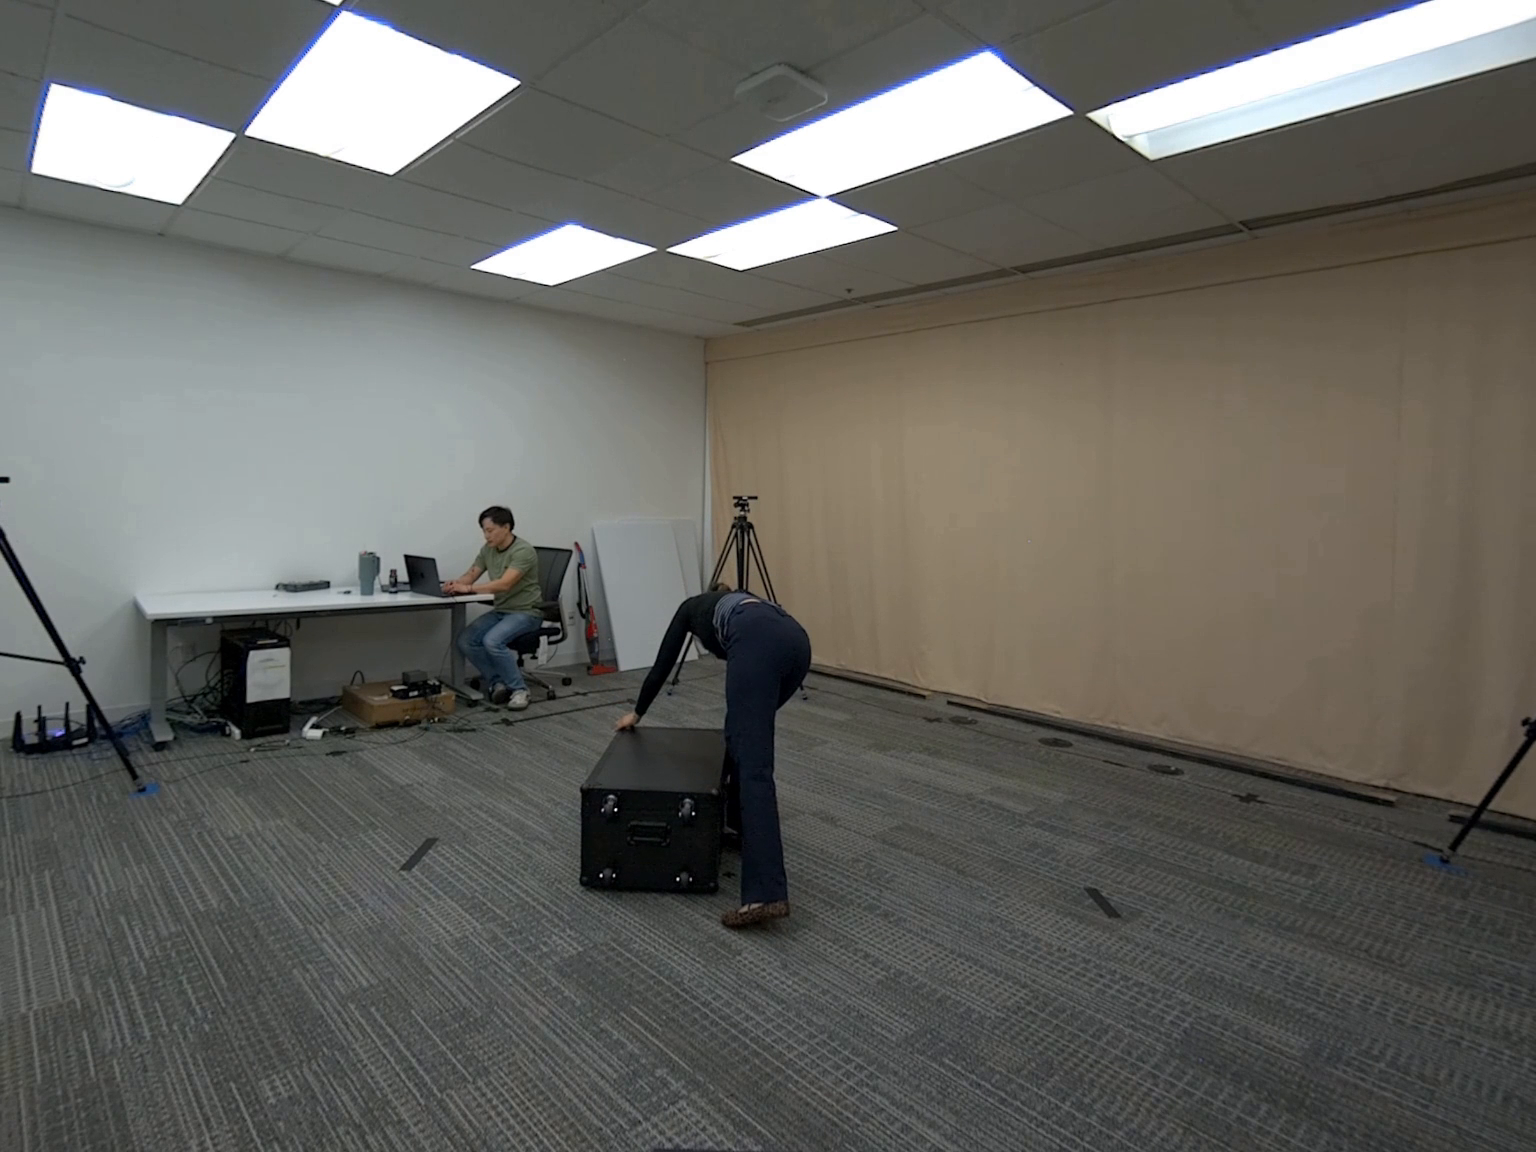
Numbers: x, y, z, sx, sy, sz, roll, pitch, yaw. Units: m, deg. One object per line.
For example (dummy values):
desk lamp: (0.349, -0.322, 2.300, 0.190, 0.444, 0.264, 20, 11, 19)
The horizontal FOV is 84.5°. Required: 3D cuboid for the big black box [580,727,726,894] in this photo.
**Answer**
big black box: (-0.420, 0.889, 3.270, 0.522, 0.395, 0.863, 1, 5, 0)
